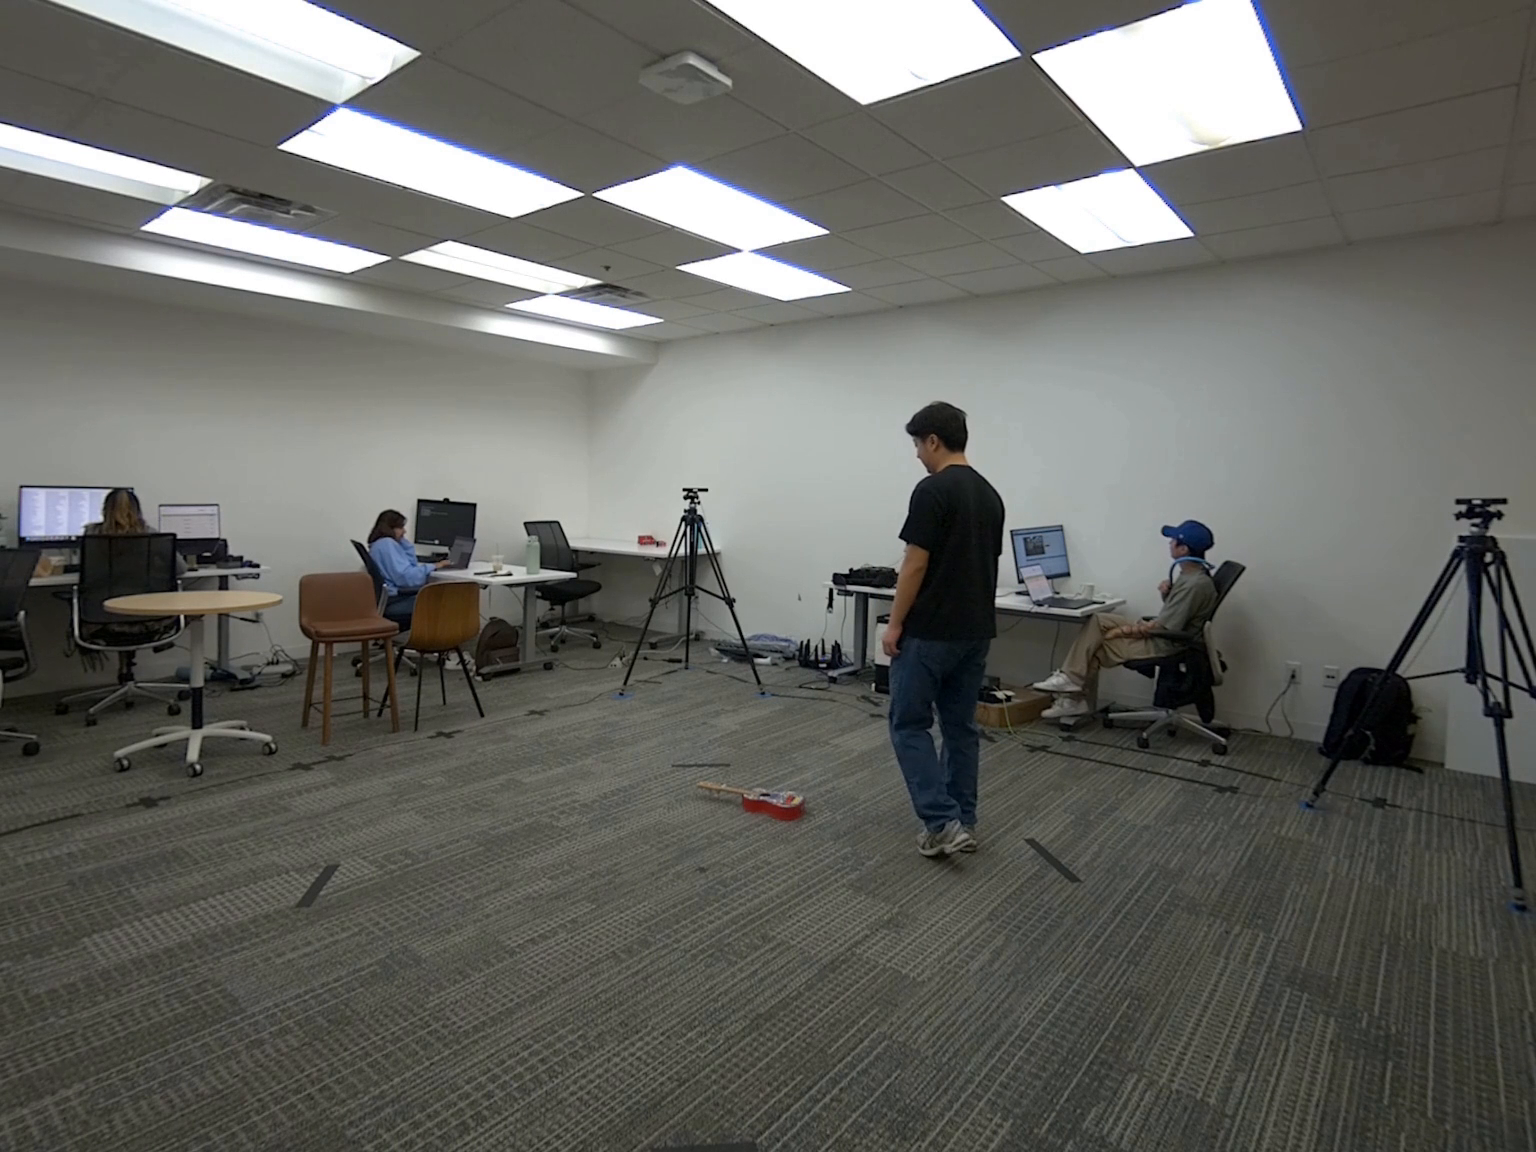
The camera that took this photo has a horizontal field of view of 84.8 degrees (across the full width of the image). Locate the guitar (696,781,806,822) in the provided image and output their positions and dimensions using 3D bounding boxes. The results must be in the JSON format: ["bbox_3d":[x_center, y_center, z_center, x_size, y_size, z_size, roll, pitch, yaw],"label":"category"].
[{"bbox_3d":[-0.080,0.974,3.777,0.513,0.070,0.188,5,6,31],"label":"guitar"}]
